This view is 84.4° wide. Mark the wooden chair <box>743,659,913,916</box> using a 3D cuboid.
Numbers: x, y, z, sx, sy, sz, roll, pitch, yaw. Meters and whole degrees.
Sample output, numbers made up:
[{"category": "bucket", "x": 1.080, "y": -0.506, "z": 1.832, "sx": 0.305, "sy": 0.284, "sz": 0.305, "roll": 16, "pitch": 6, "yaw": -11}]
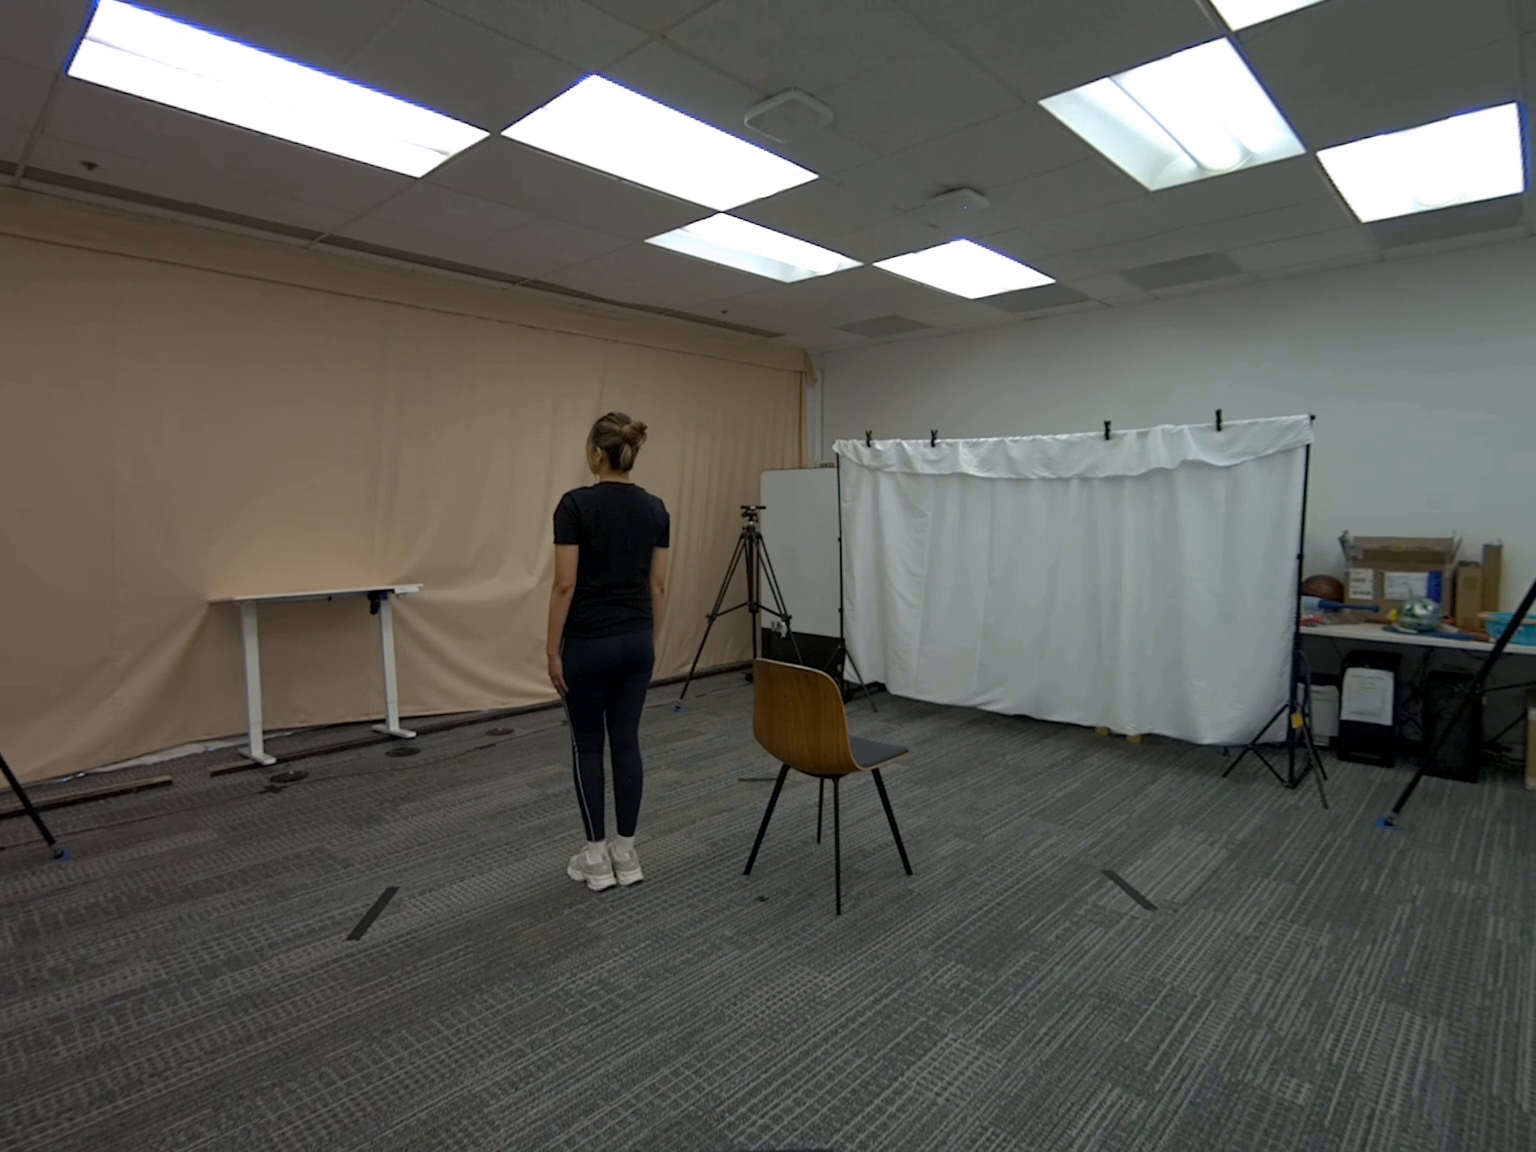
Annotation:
[{"category": "wooden chair", "x": 0.236, "y": 0.702, "z": 3.149, "sx": 0.494, "sy": 0.873, "sz": 0.508, "roll": 3, "pitch": 9, "yaw": 42}]
